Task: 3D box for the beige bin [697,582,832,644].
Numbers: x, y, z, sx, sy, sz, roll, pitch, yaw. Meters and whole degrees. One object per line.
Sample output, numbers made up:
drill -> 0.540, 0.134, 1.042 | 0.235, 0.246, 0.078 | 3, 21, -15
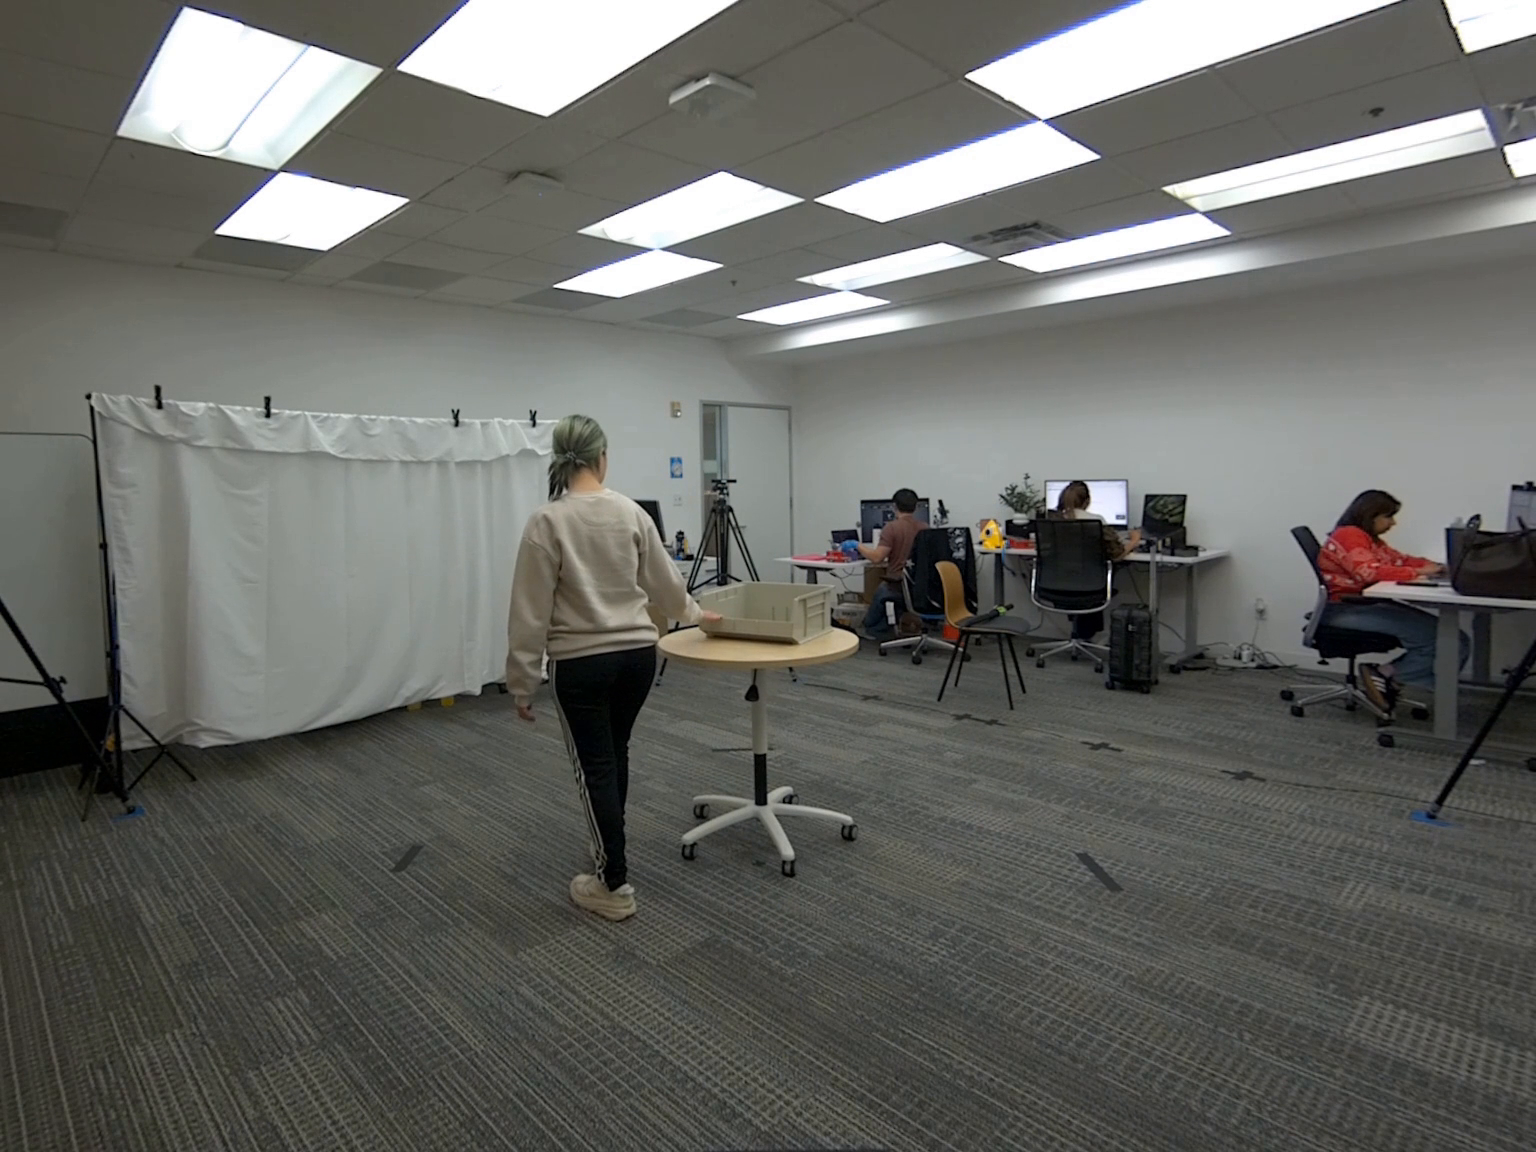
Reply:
beige bin -> -0.003, 0.141, 3.364 | 0.433, 0.188, 0.369 | 2, 5, 29
